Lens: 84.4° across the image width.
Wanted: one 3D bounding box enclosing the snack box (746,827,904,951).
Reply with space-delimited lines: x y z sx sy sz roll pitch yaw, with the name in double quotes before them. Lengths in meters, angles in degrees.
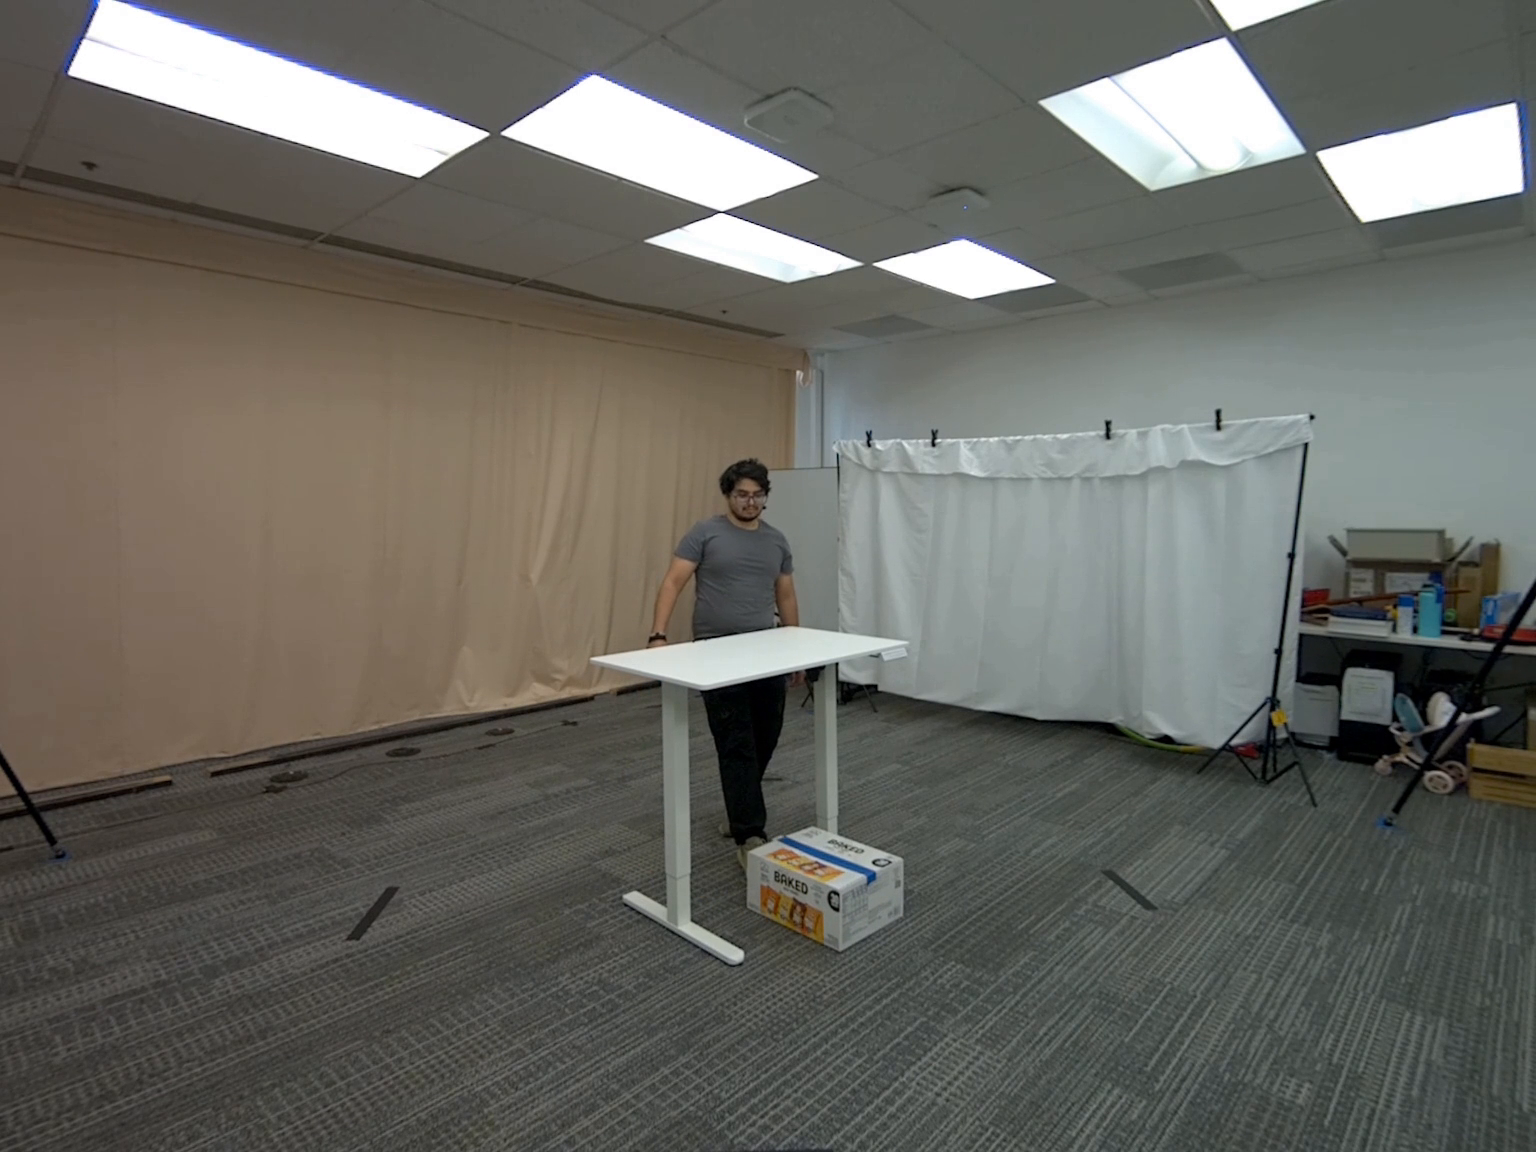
"snack box" 0.199 1.051 2.868 0.419 0.205 0.330 4 6 45
